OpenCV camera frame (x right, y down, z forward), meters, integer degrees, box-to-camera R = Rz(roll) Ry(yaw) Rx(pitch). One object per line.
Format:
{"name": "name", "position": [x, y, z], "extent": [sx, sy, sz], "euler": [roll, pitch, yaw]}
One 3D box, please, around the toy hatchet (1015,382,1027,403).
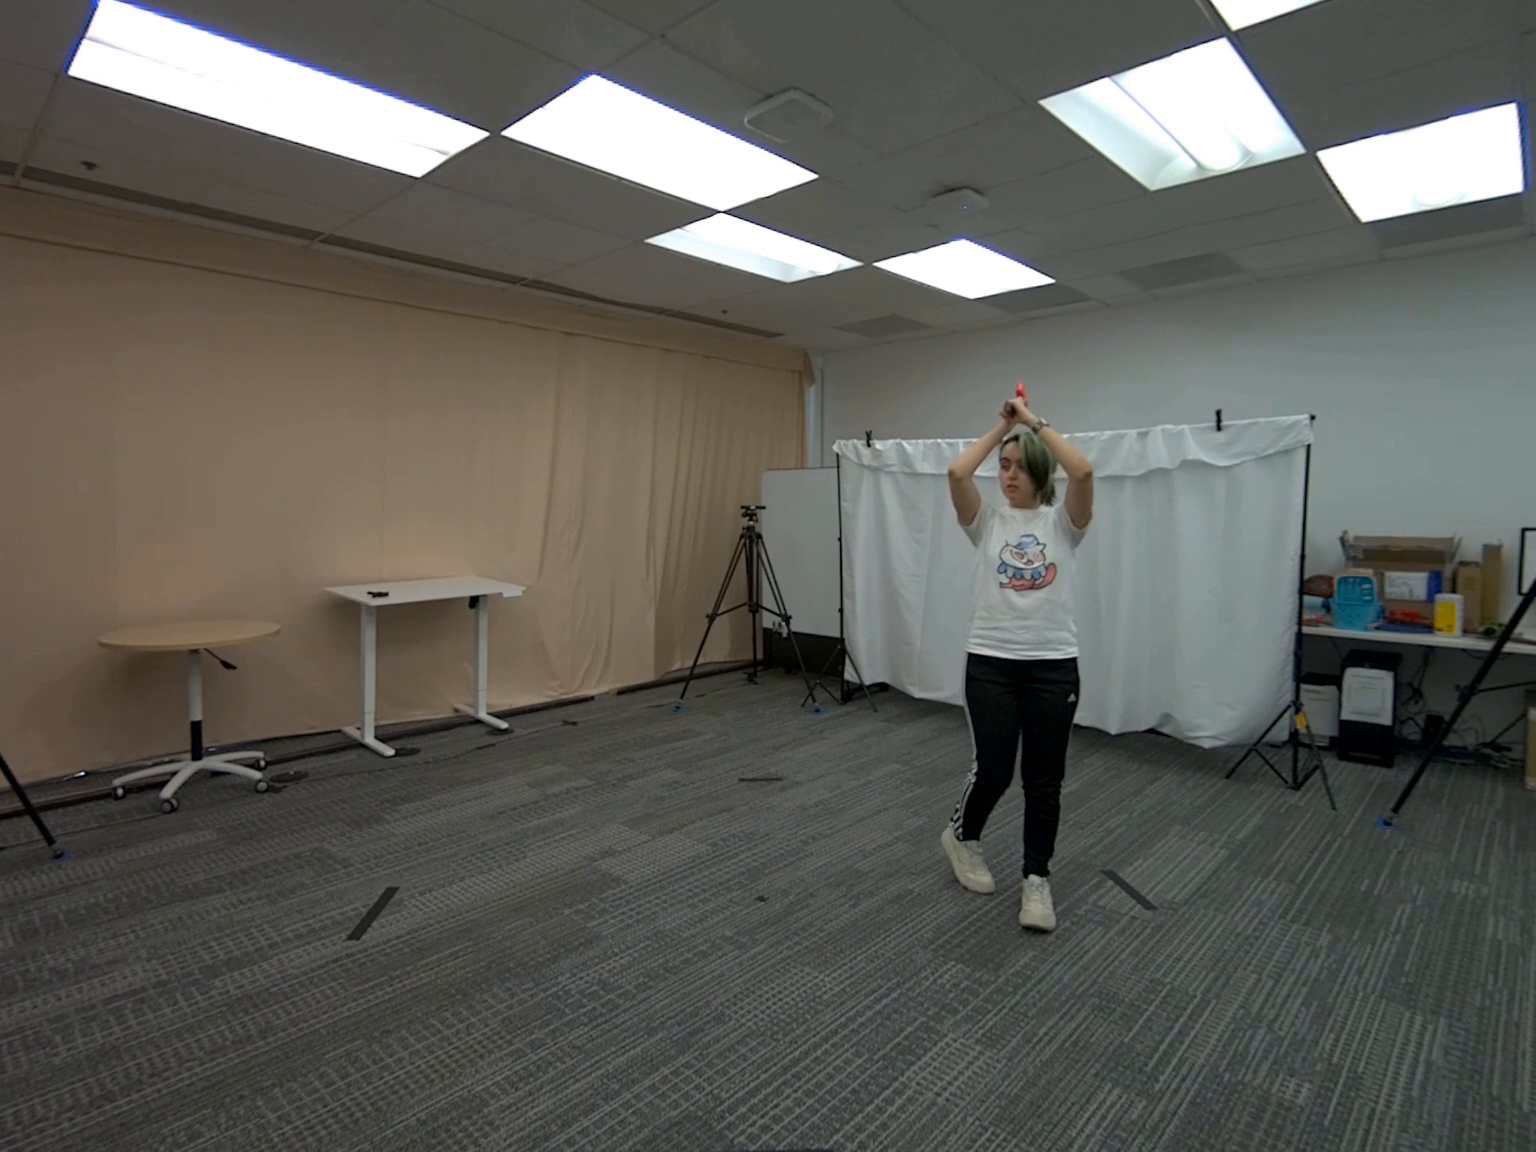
{"name": "toy hatchet", "position": [0.841, -0.598, 2.800], "extent": [0.030, 0.131, 0.263], "euler": [5, 5, 25]}
